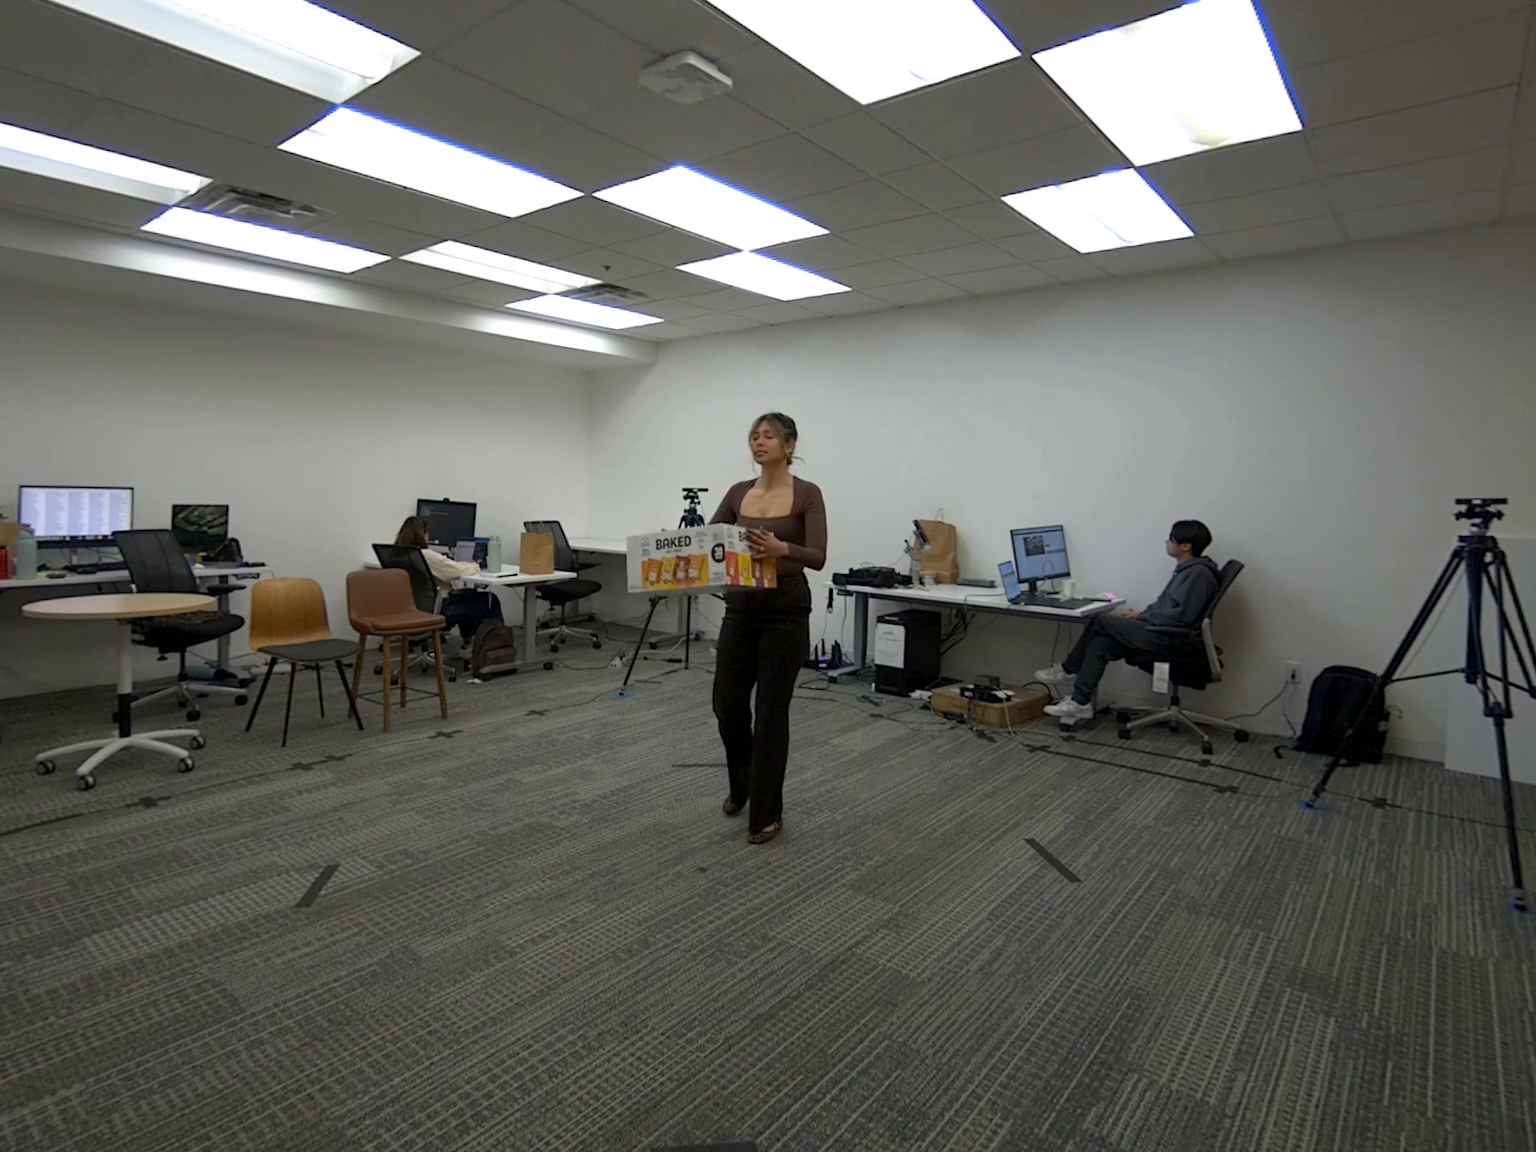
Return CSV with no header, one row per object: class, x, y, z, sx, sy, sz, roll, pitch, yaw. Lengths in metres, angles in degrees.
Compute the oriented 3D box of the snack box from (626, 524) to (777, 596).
snack box,-0.246,-0.048,3.010,0.416,0.207,0.329,-5,-6,31
